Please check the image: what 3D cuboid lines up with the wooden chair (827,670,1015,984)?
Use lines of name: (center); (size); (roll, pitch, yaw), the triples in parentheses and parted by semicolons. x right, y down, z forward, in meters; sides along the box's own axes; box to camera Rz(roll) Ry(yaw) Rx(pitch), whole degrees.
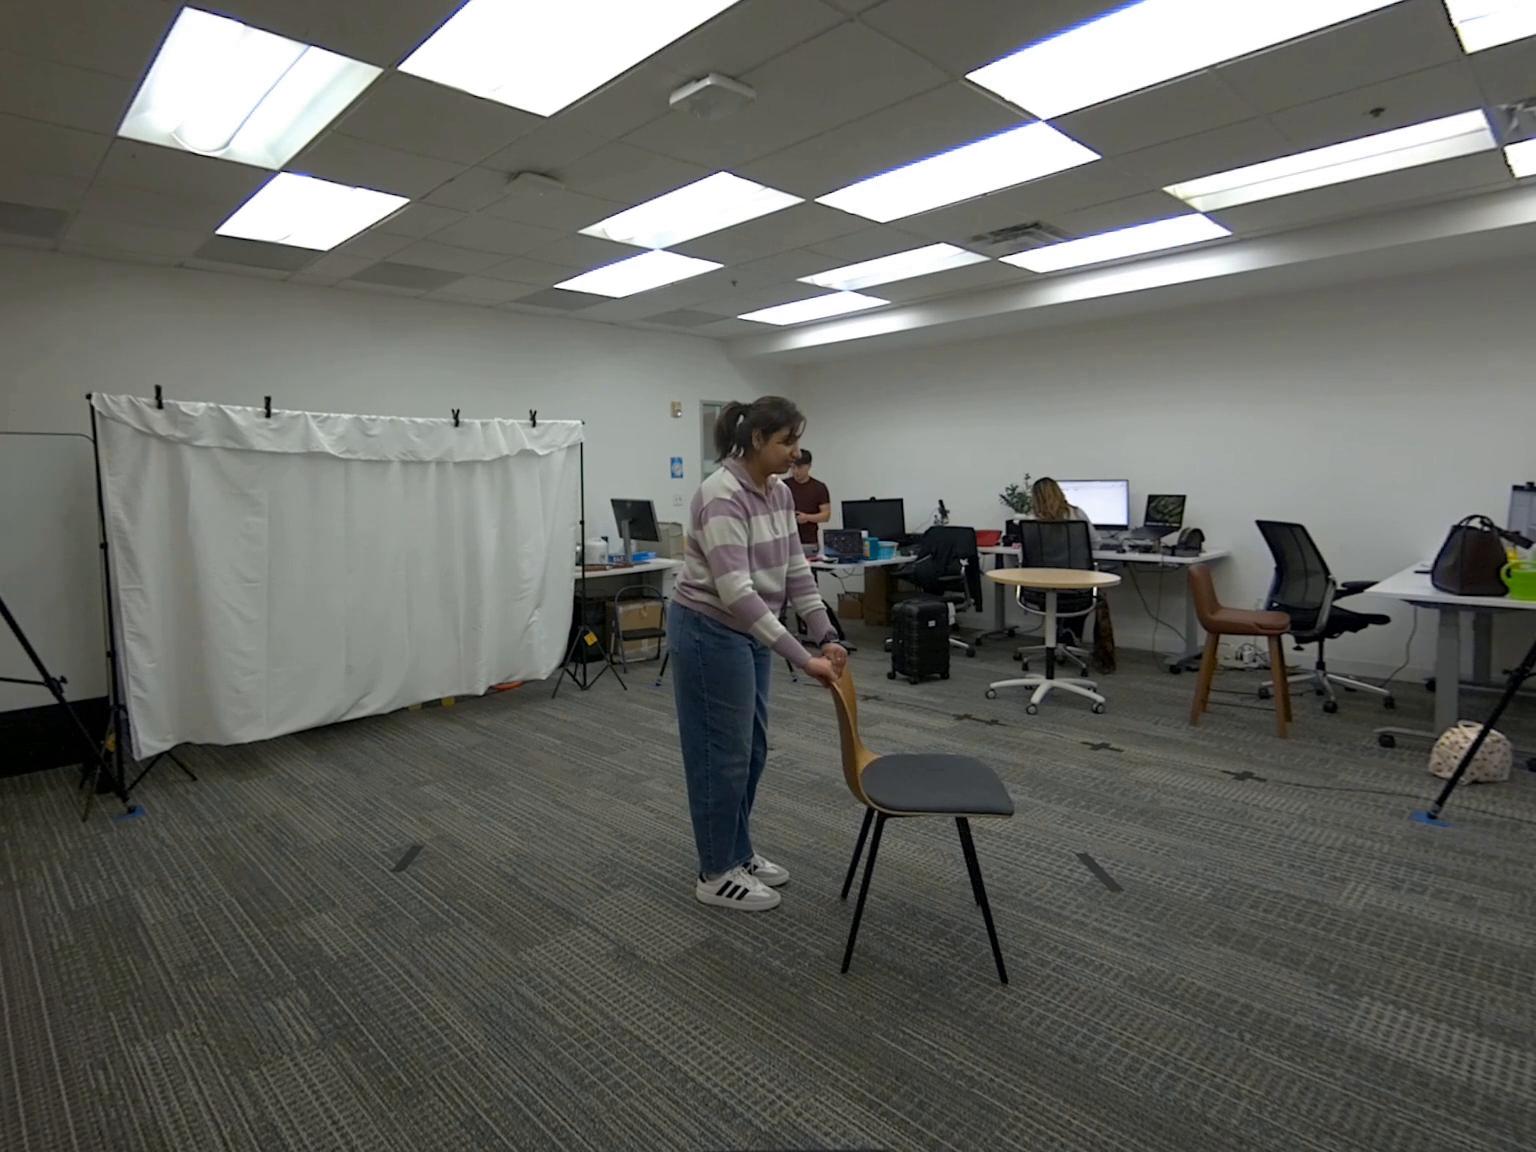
wooden chair: (0.452, 0.672, 2.567); (0.526, 0.875, 0.476); (-5, 3, 6)
